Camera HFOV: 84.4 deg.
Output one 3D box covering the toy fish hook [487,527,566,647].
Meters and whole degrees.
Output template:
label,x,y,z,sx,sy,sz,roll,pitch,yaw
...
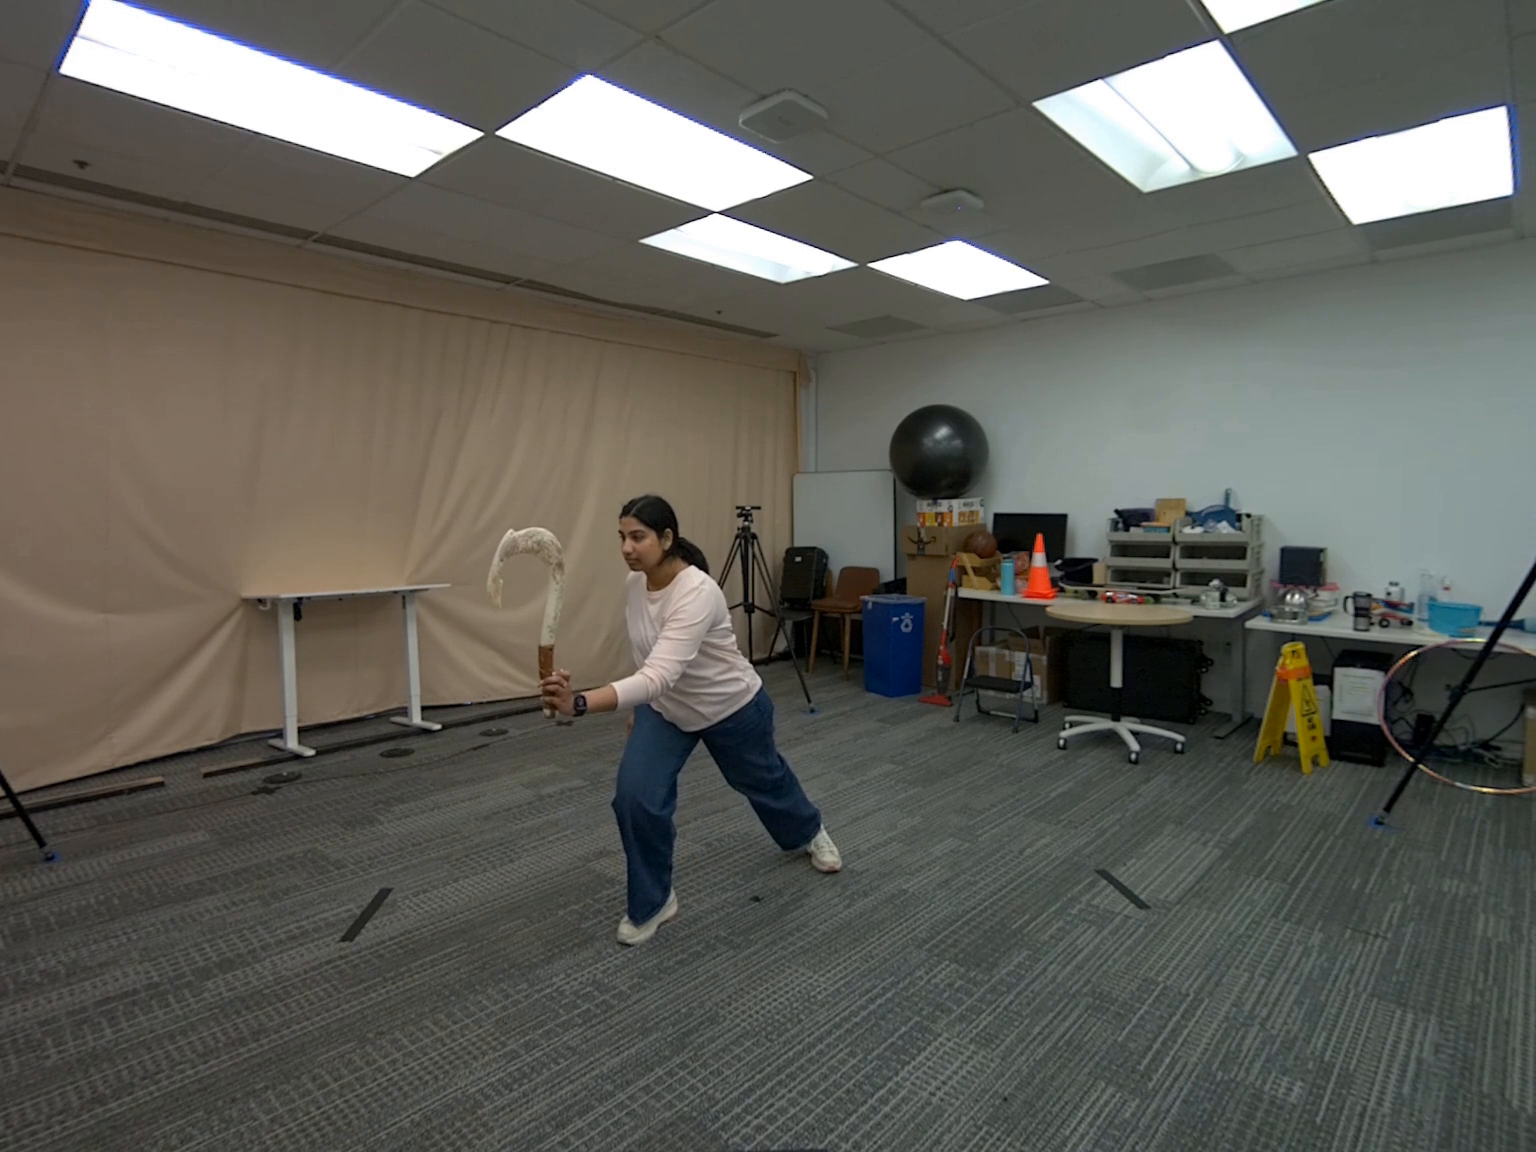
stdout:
label,x,y,z,sx,sy,sz,roll,pitch,yaw
toy fish hook,-0.619,0.122,2.164,0.218,0.504,0.050,-6,9,-39
